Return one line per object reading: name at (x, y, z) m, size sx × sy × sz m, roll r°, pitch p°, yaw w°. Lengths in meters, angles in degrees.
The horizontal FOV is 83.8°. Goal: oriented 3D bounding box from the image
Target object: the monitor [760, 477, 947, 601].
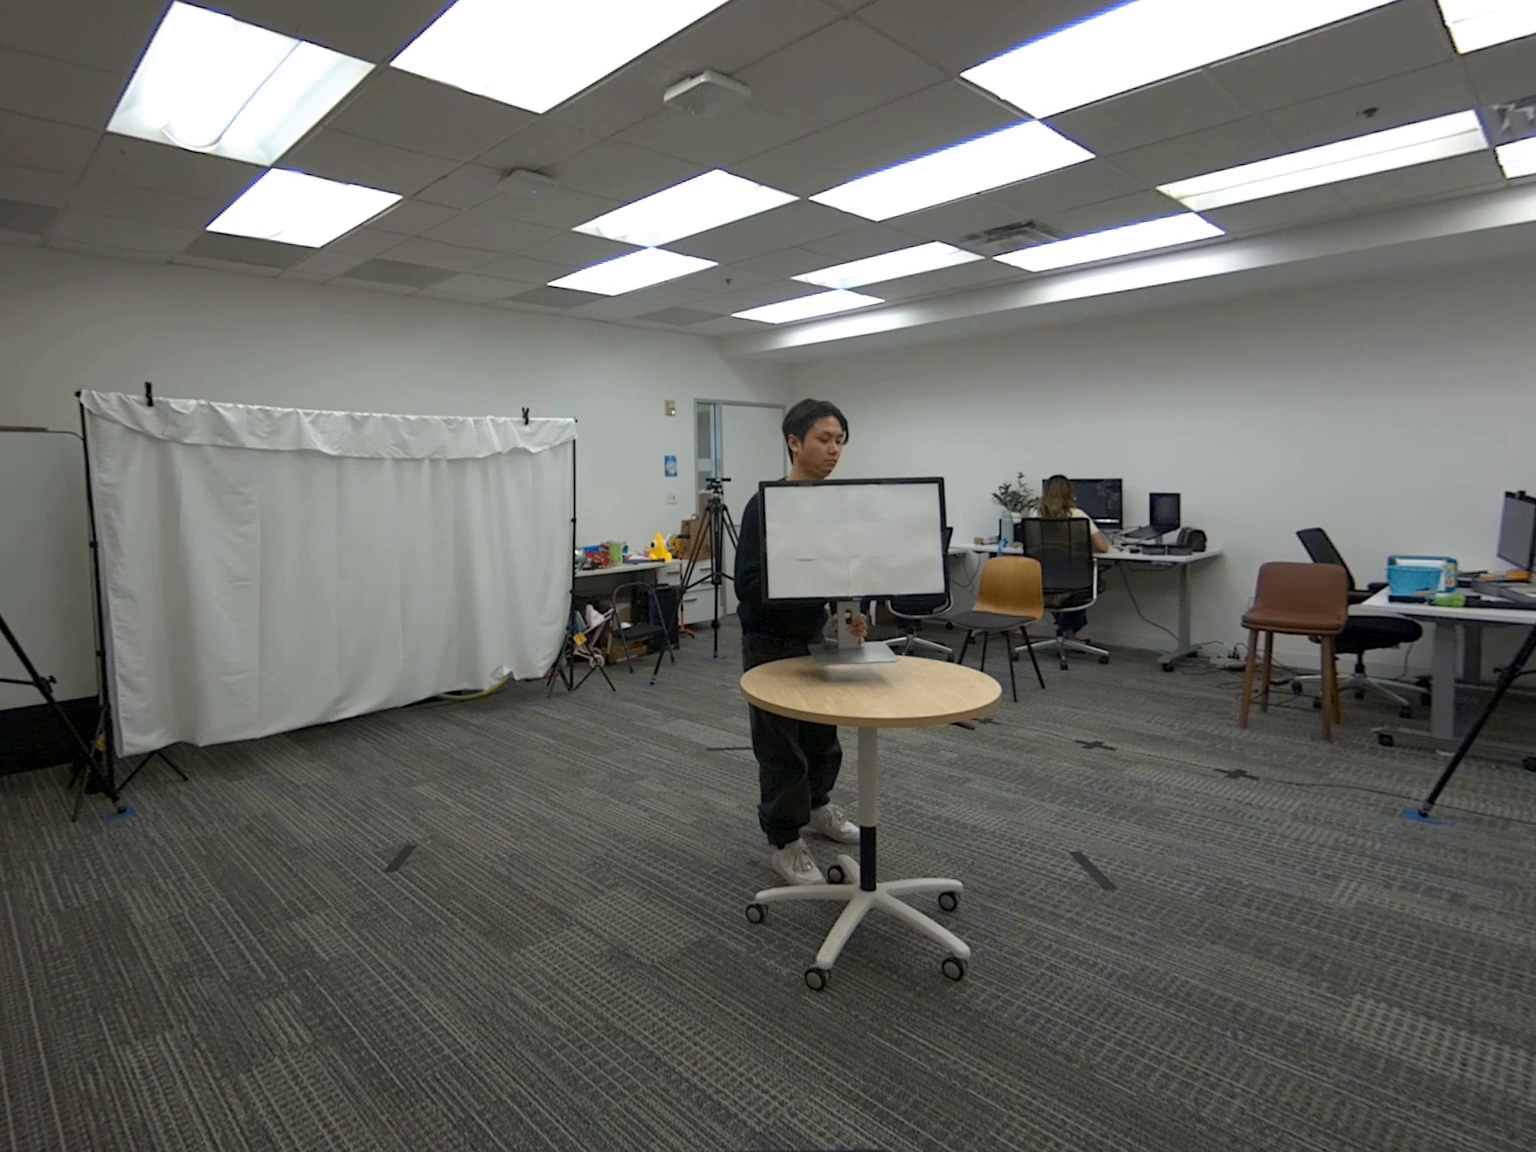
monitor at (0.247, -0.021, 2.582) m, size 0.527 × 0.510 × 0.177 m, roll -1°, pitch 13°, yaw -5°
